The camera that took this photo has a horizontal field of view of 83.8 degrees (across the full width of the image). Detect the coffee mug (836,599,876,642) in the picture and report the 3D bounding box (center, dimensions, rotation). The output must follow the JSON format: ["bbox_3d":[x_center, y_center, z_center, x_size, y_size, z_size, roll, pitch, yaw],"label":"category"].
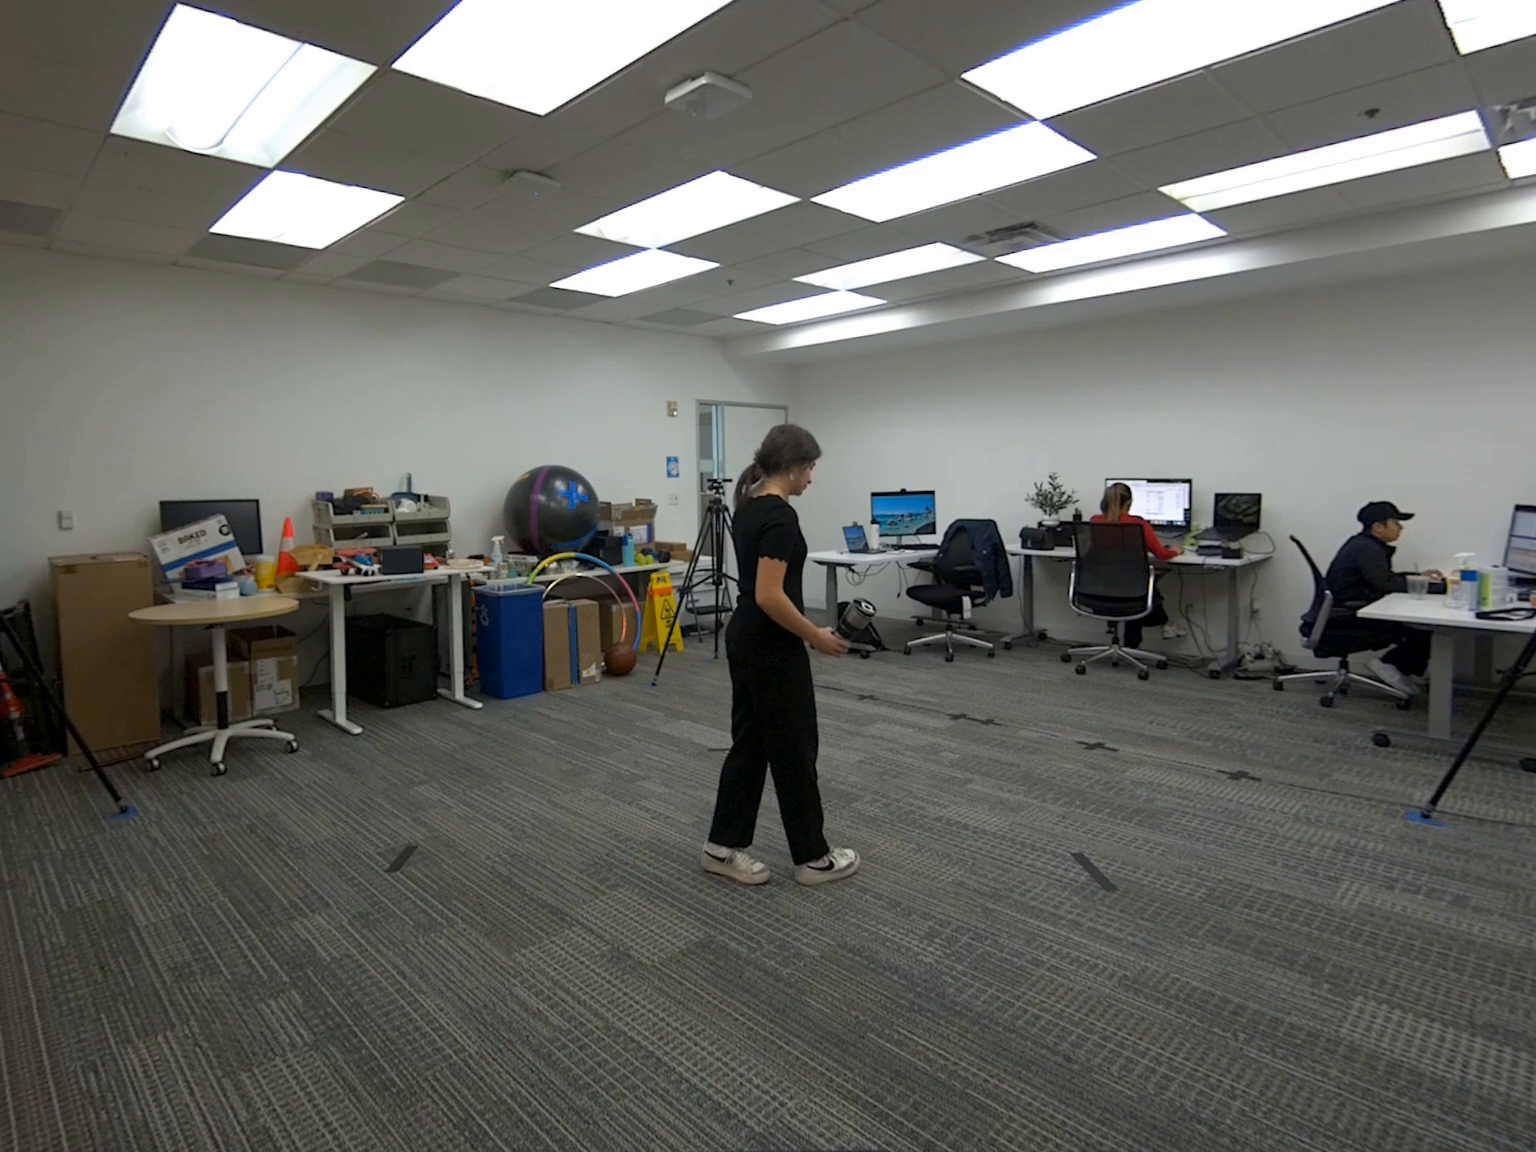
[{"bbox_3d":[0.286,0.172,2.889,0.118,0.201,0.091,4,36,-44],"label":"coffee mug"}]
